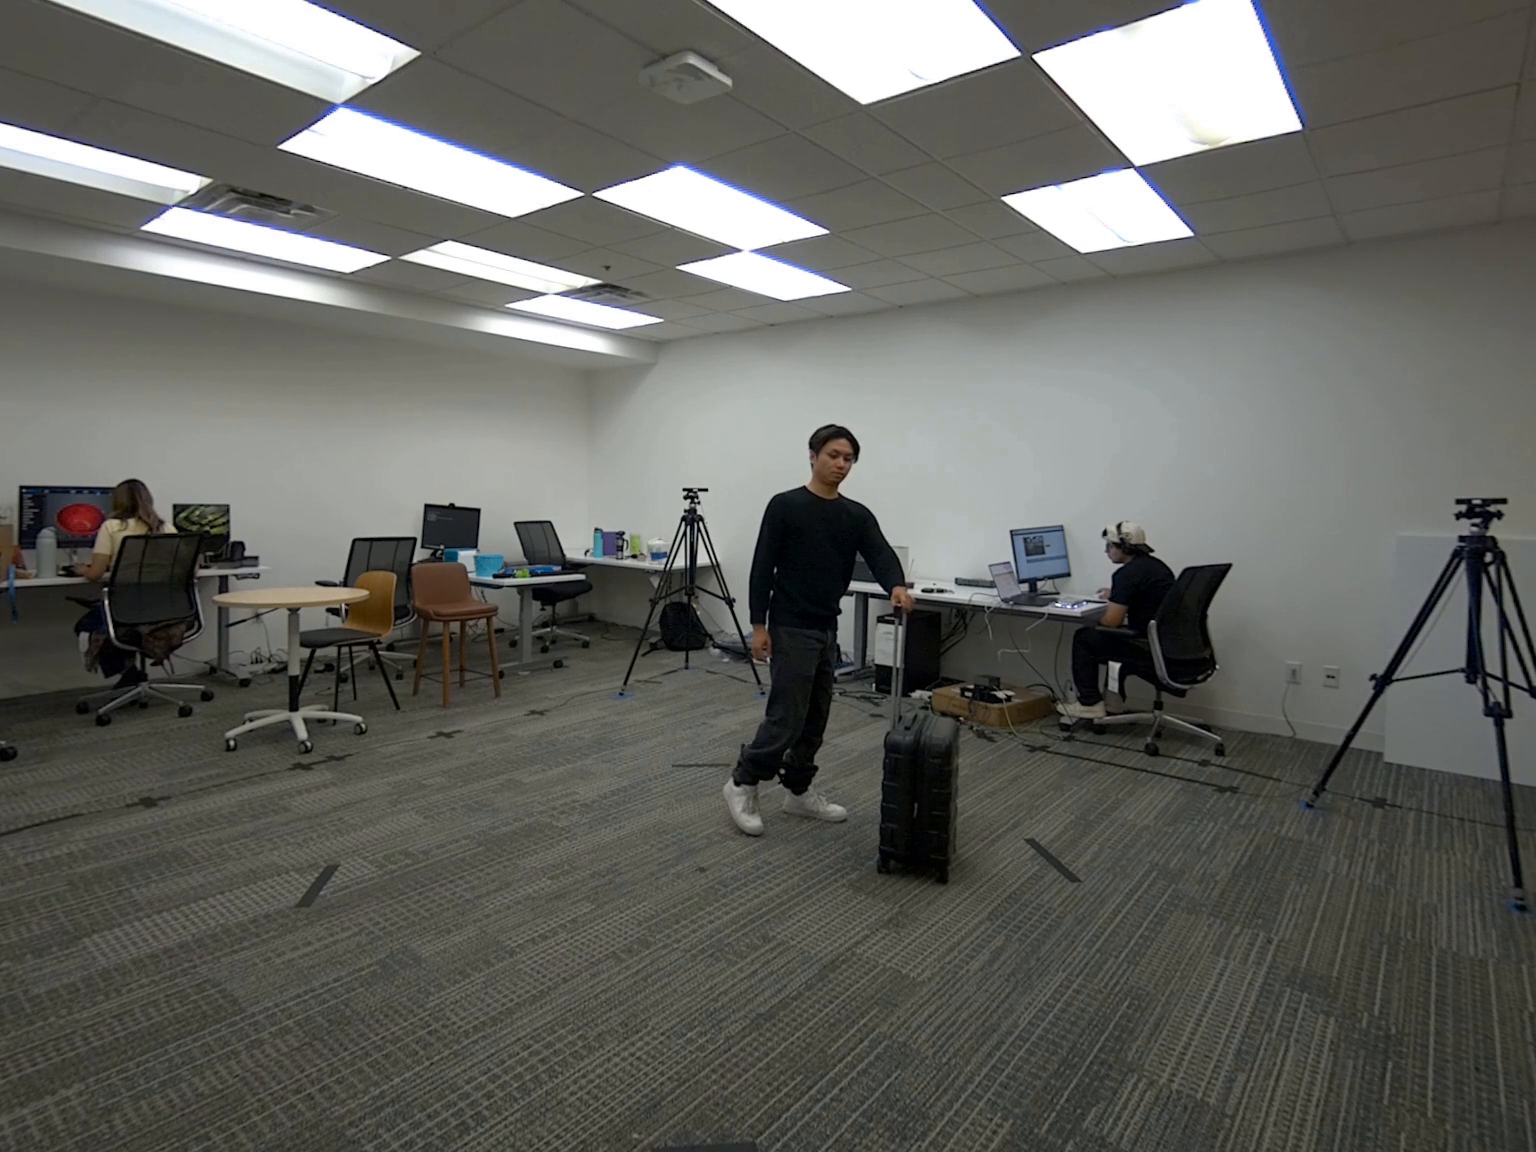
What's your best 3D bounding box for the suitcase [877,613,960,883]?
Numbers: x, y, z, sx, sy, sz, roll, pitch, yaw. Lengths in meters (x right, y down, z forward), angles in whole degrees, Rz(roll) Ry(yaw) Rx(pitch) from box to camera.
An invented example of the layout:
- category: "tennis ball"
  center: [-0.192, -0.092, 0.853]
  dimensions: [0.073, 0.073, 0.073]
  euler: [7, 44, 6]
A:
- category: "suitcase"
  center: [0.573, 0.600, 3.173]
  dimensions: [0.262, 0.974, 0.378]
  euler: [4, 6, 18]
